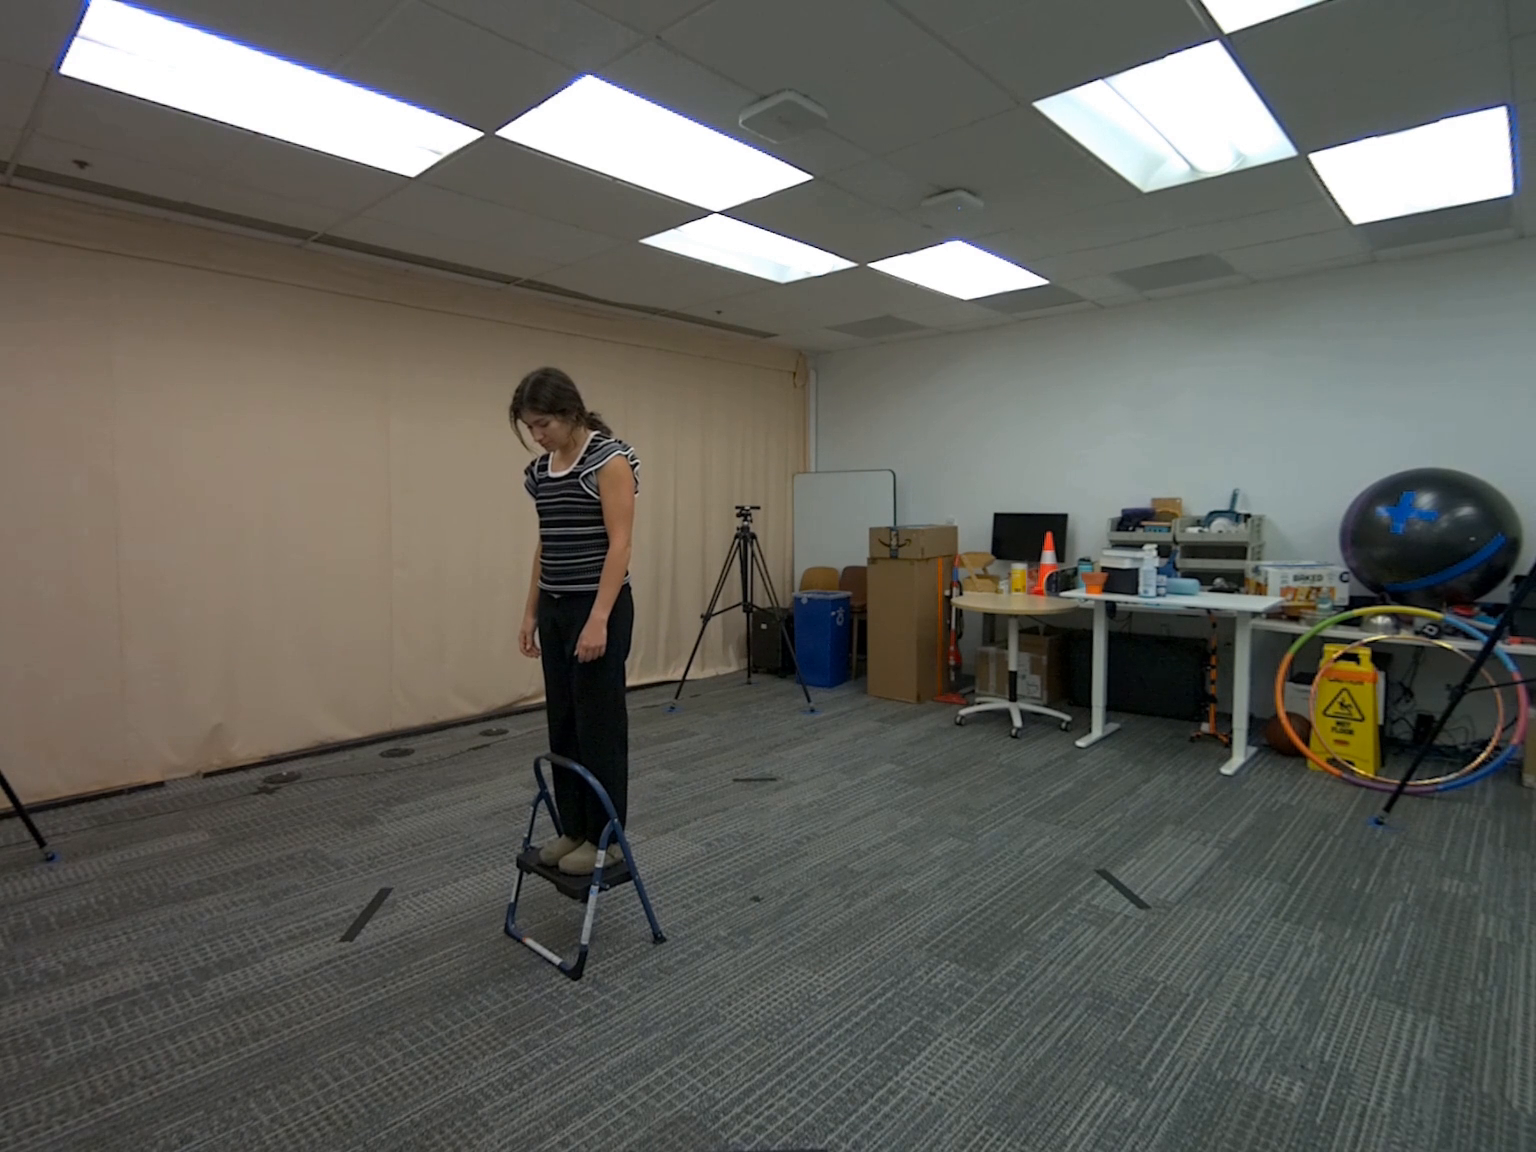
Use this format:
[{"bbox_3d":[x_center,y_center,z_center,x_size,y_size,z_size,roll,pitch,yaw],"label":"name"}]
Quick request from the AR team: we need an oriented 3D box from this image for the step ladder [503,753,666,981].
[{"bbox_3d":[-0.602,0.870,2.715,0.445,0.605,0.338,2,4,43],"label":"step ladder"}]
